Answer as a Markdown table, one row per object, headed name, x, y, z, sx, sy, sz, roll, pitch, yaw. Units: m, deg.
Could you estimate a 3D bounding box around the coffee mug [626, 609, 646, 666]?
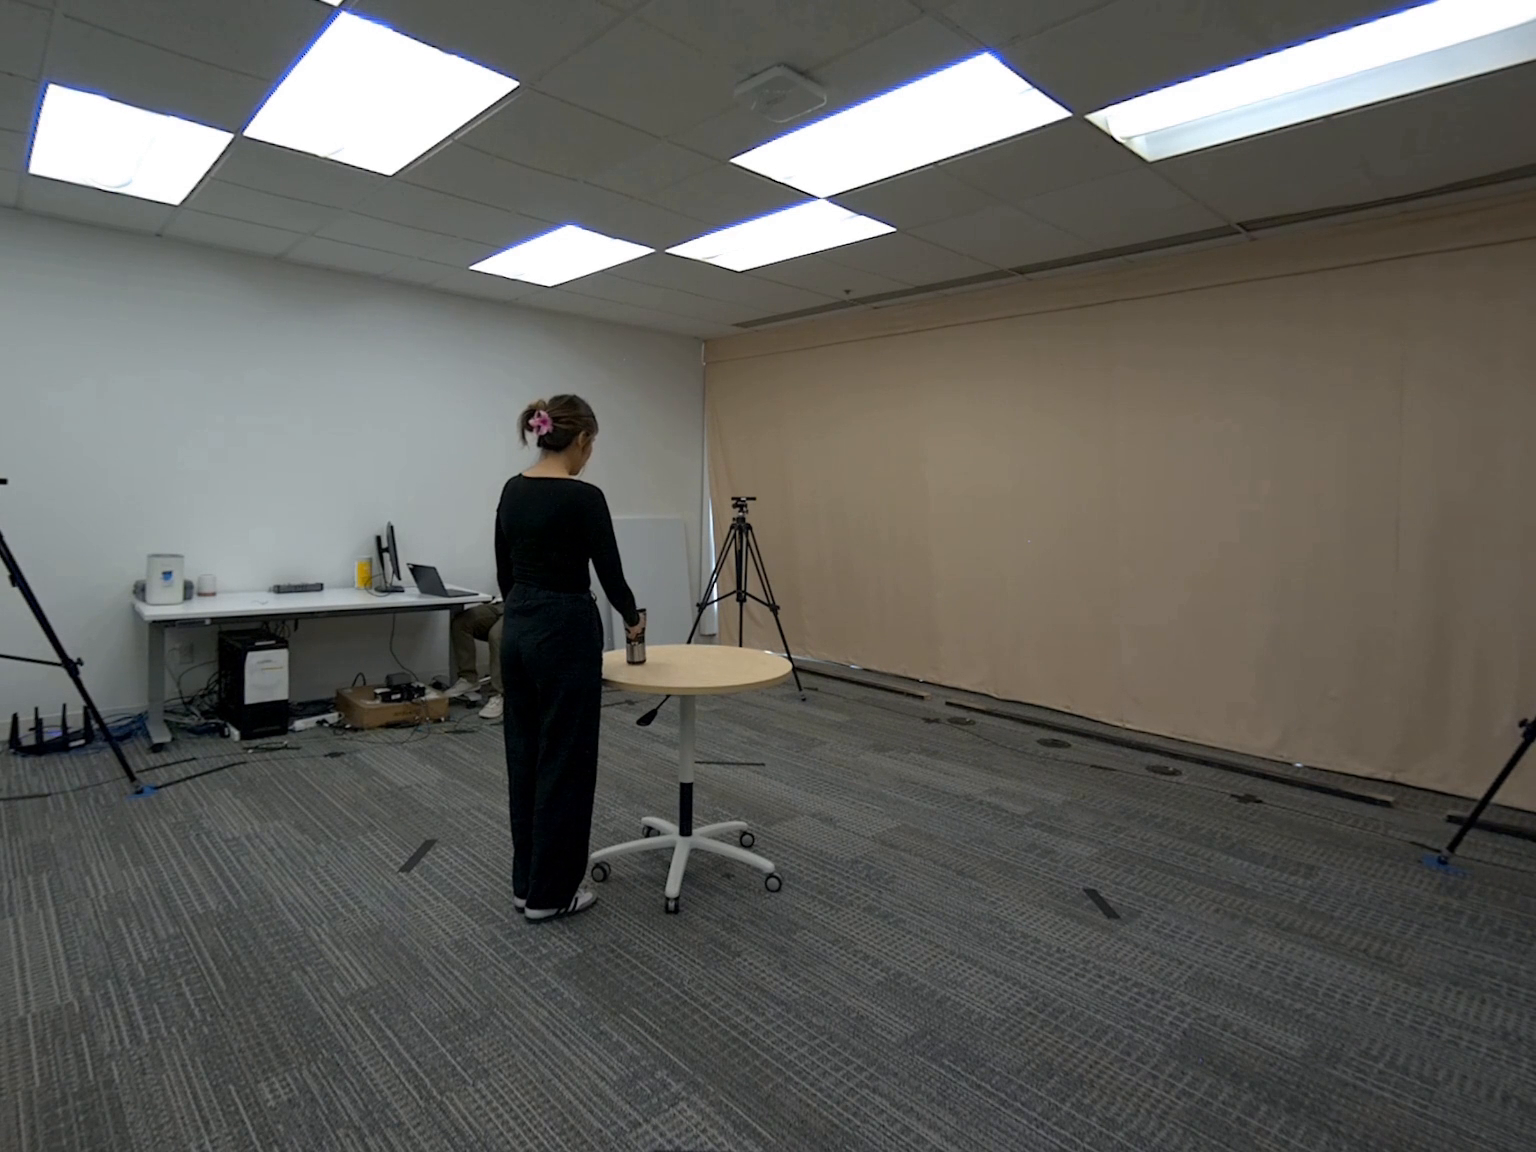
| name | x | y | z | sx | sy | sz | roll | pitch | yaw |
| --- | --- | --- | --- | --- | --- | --- | --- | --- | --- |
| coffee mug | -0.511 | 0.220 | 3.047 | 0.119 | 0.202 | 0.090 | -4 | 8 | -40 |
